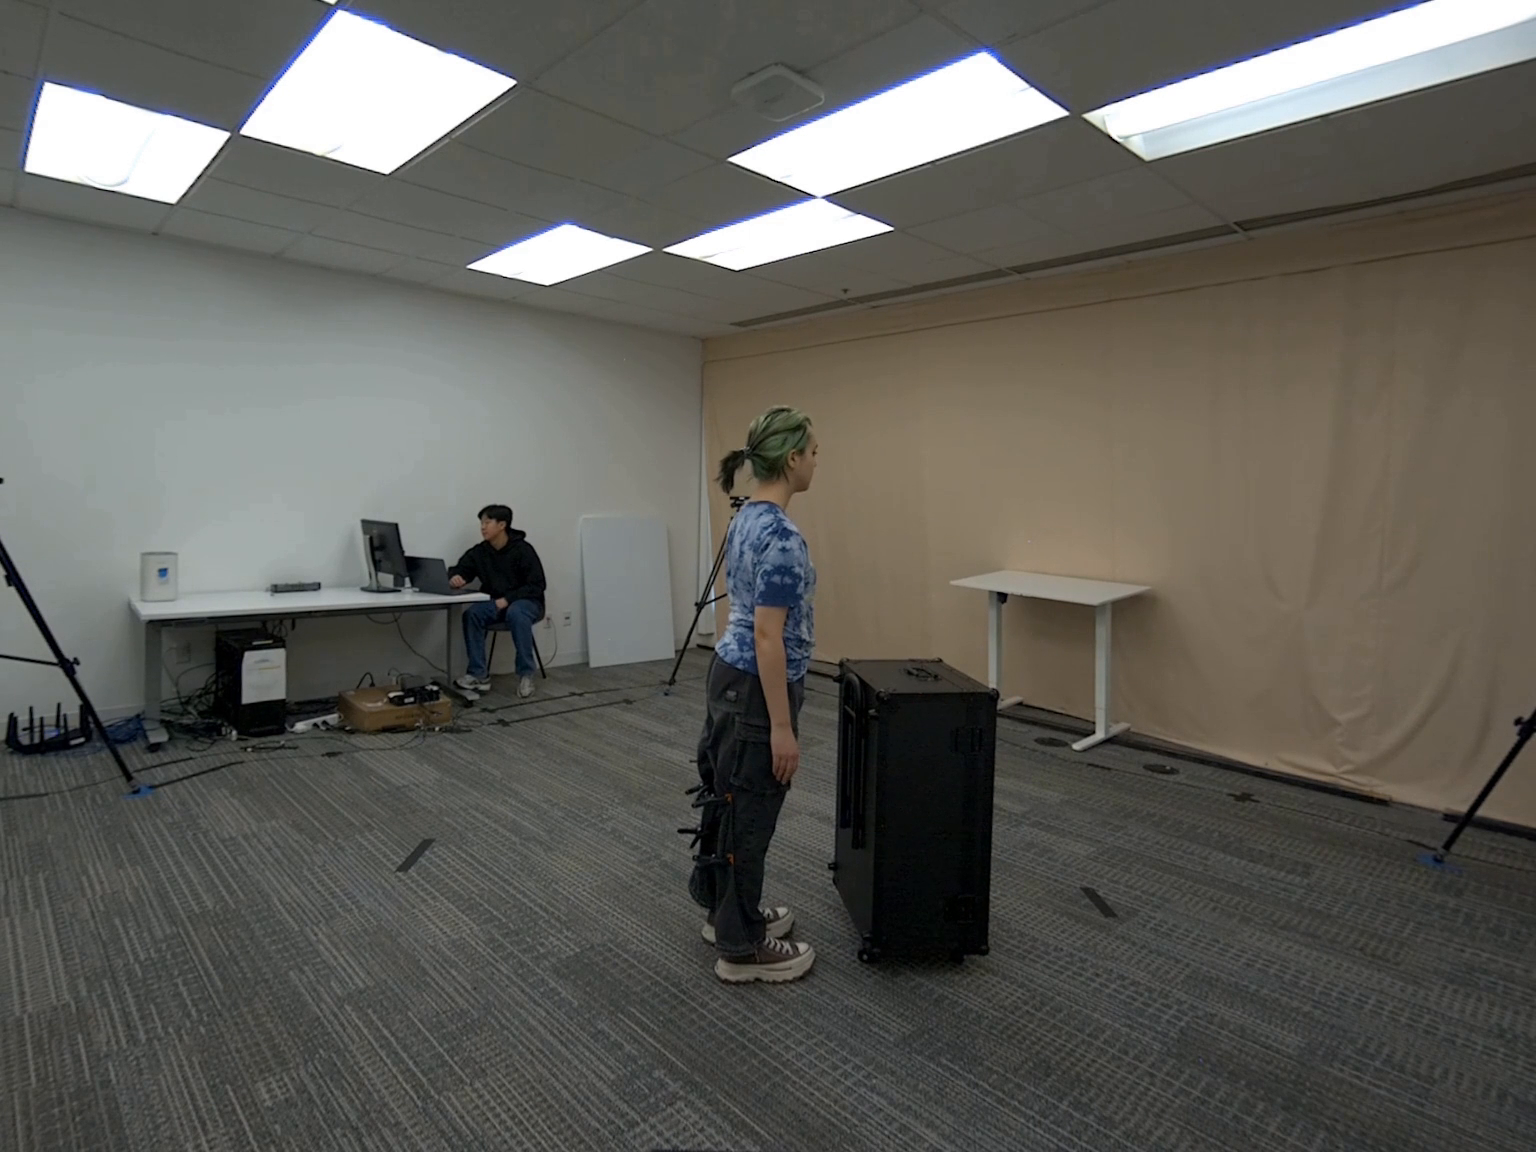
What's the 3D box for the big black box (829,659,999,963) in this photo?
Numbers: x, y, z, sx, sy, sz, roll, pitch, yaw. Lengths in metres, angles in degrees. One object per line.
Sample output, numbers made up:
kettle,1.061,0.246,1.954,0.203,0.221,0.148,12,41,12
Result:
big black box,0.433,0.733,2.661,0.394,0.859,0.525,0,4,-7
